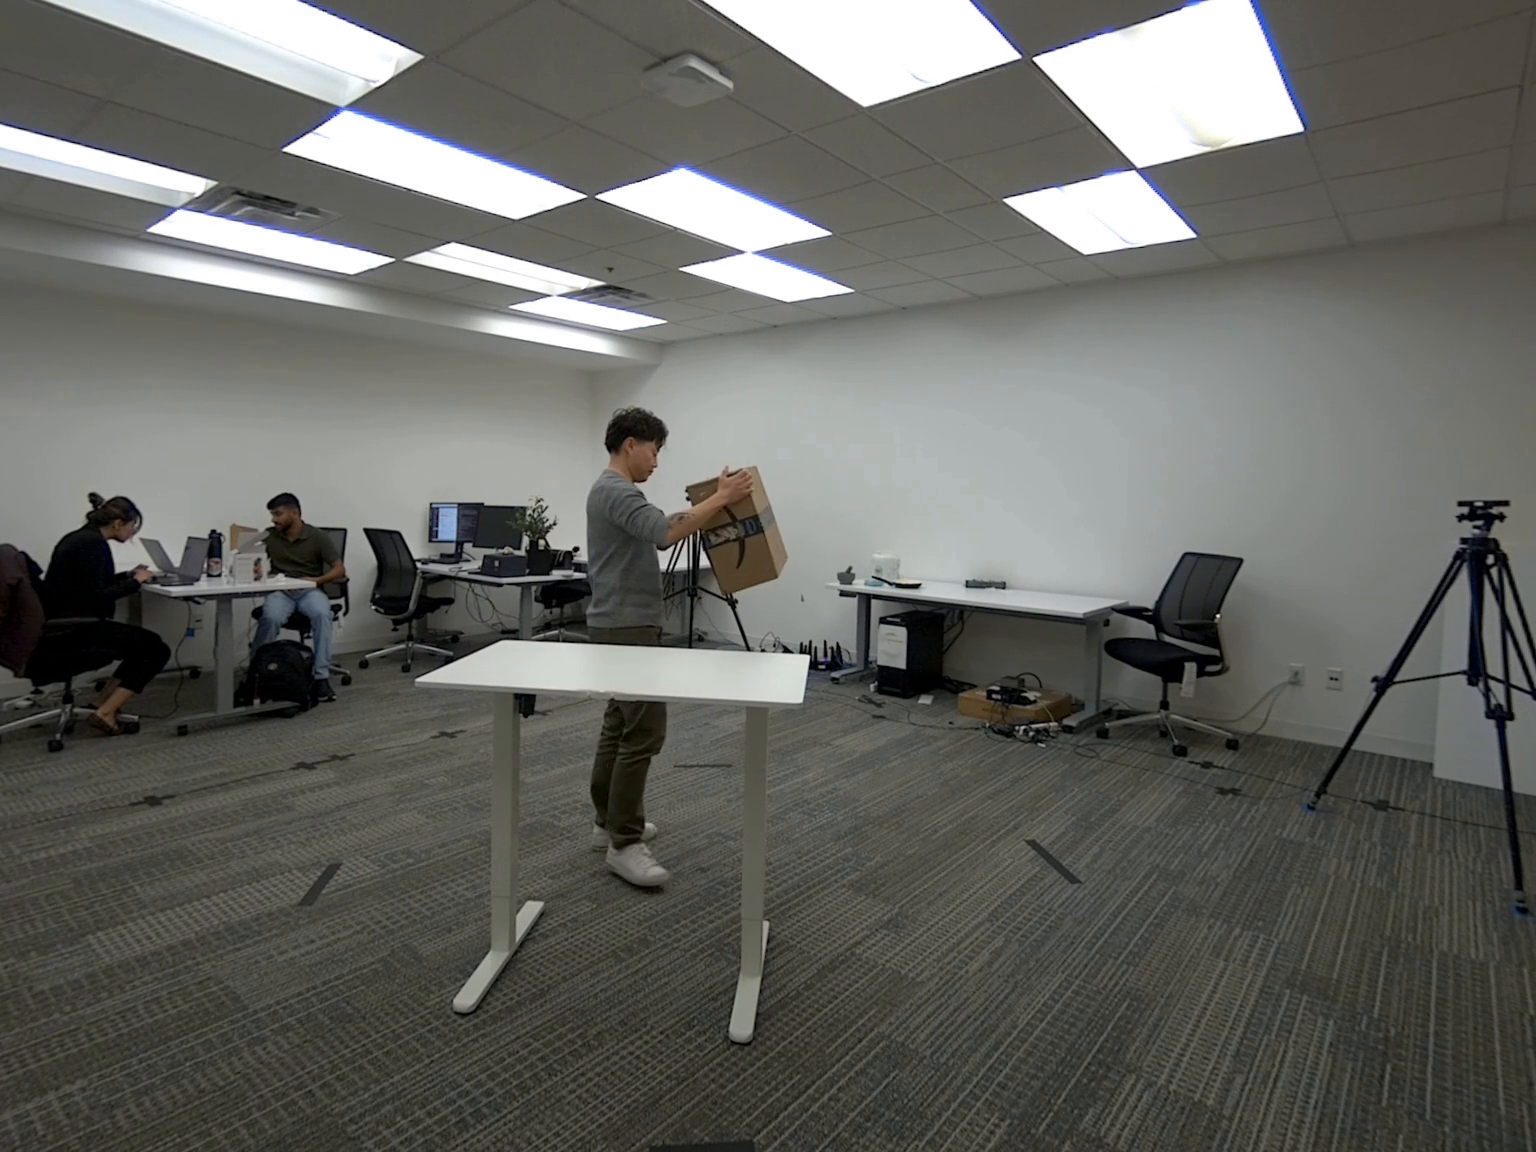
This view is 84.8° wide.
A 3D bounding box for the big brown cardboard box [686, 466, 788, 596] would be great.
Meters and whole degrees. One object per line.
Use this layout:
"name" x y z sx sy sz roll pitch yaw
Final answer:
"big brown cardboard box" -0.118 -0.187 3.295 0.235 0.416 0.587 -18 5 8
